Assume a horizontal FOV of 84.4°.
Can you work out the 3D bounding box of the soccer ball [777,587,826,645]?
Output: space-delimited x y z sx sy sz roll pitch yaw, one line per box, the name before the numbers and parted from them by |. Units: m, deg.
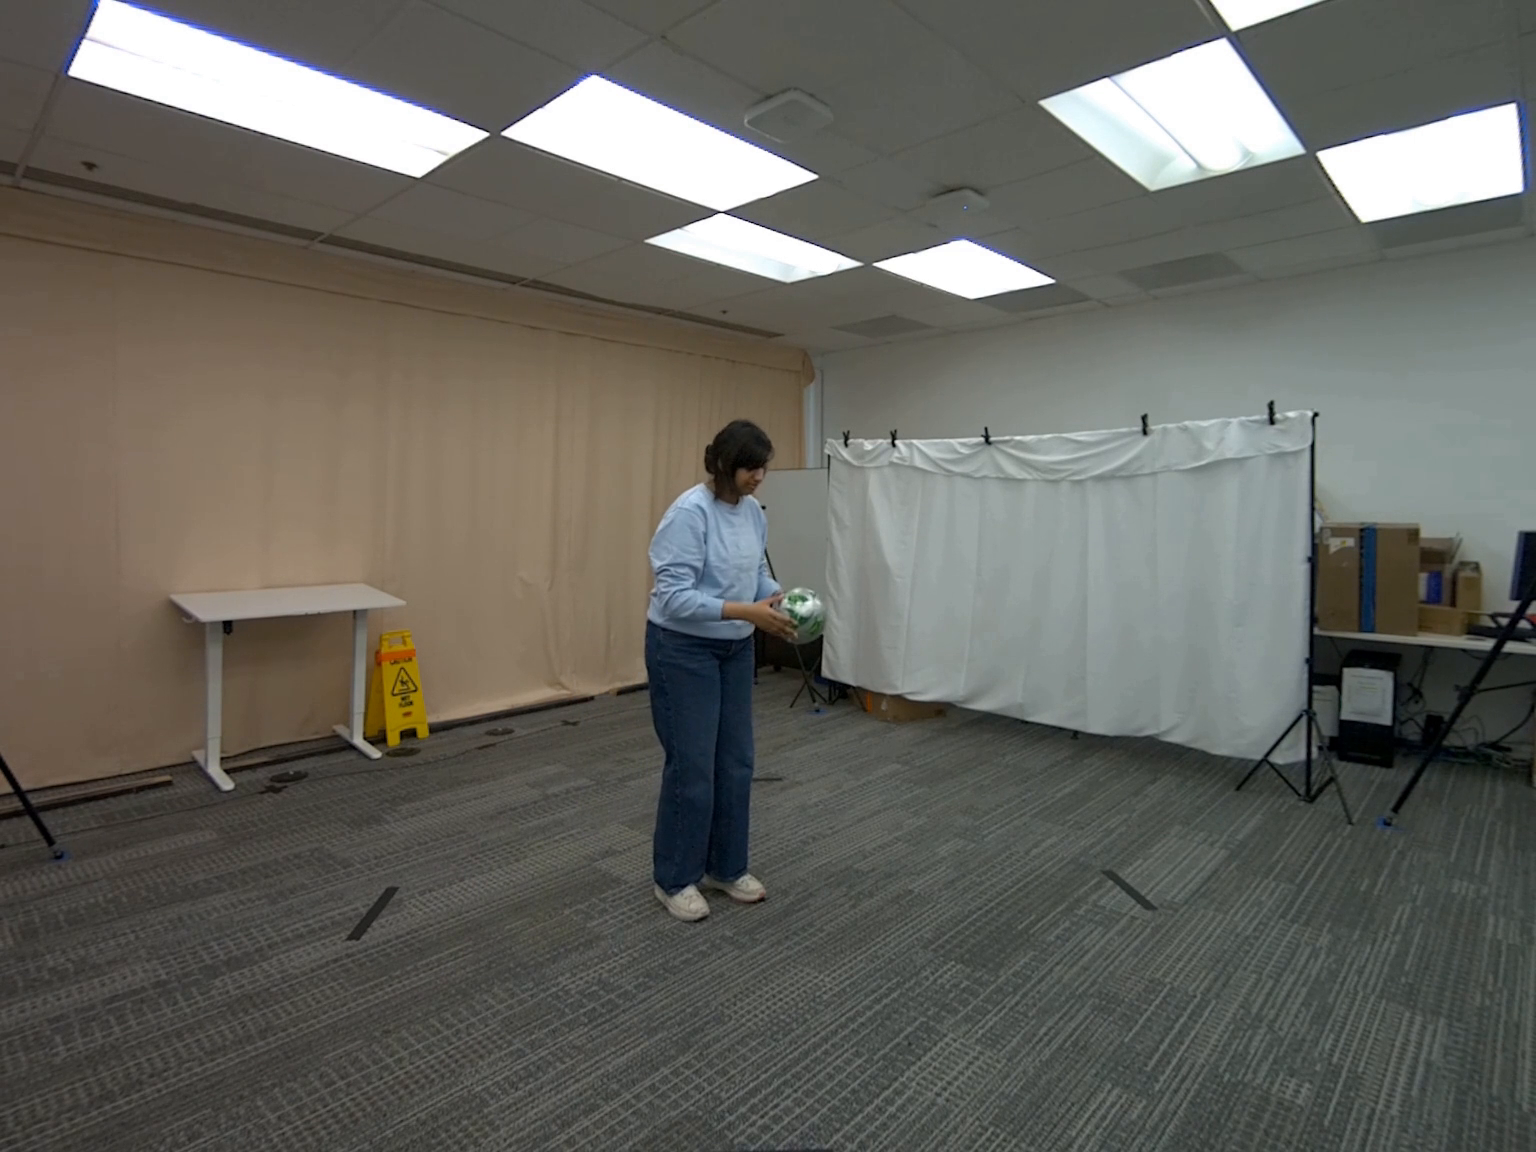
soccer ball | 0.098 0.120 2.757 0.187 0.187 0.188 0 4 -2
